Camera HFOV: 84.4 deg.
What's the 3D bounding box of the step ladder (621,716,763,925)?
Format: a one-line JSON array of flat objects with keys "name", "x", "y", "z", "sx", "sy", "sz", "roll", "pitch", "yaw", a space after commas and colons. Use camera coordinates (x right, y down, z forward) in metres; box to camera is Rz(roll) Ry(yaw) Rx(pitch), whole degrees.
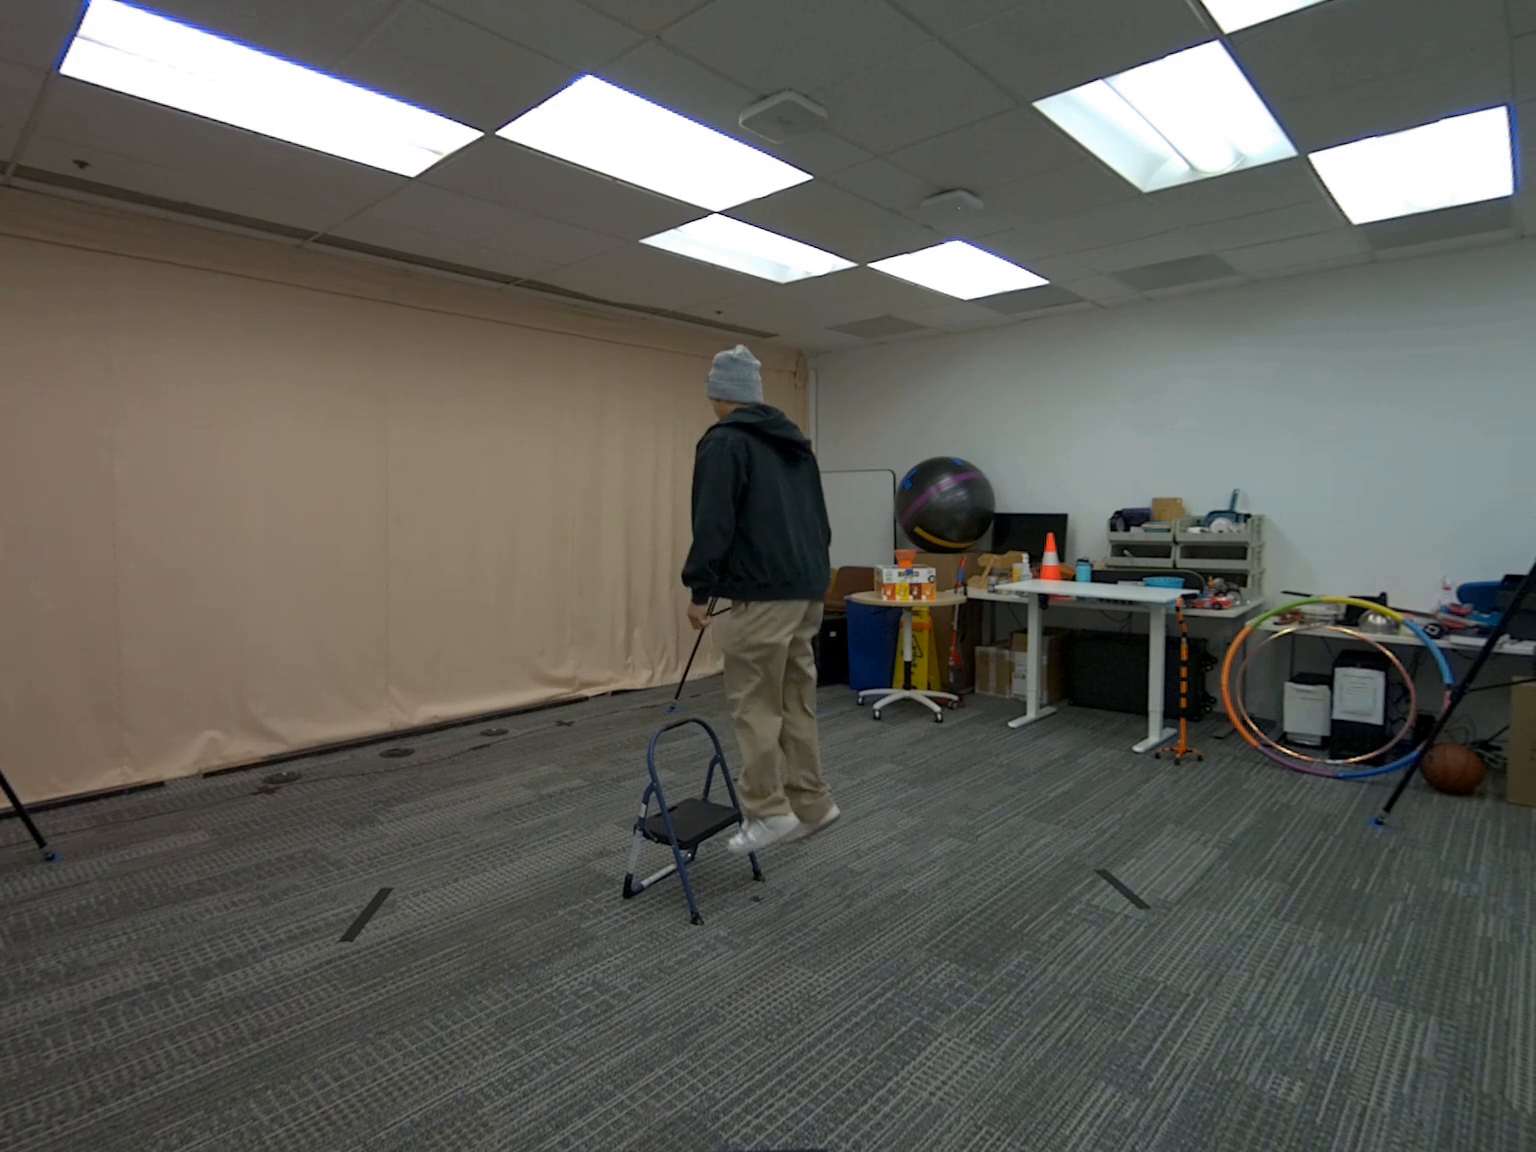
[{"name": "step ladder", "x": -0.269, "y": 0.837, "z": 3.053, "sx": 0.360, "sy": 0.605, "sz": 0.419, "roll": 2, "pitch": 4, "yaw": 32}]
